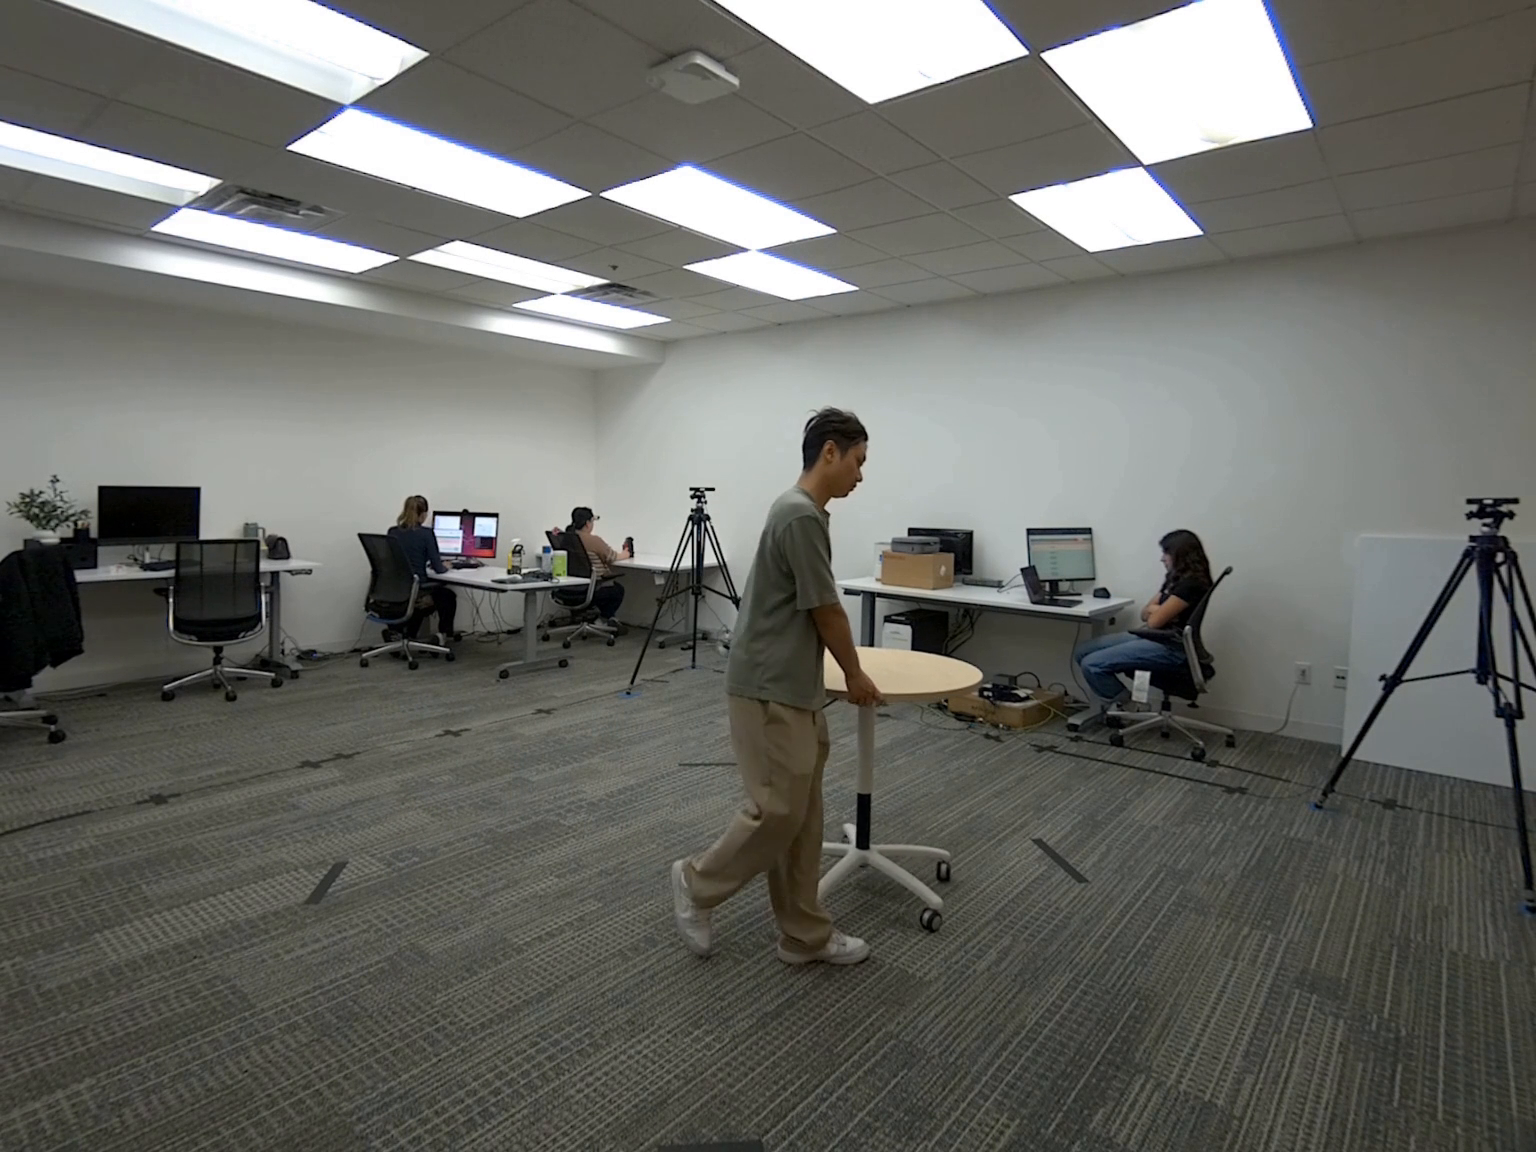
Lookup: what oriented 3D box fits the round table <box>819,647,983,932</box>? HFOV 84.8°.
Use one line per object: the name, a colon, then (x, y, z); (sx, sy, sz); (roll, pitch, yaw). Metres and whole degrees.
round table: (0.345, 0.700, 2.979); (0.784, 0.783, 0.789); (0, 5, -2)
